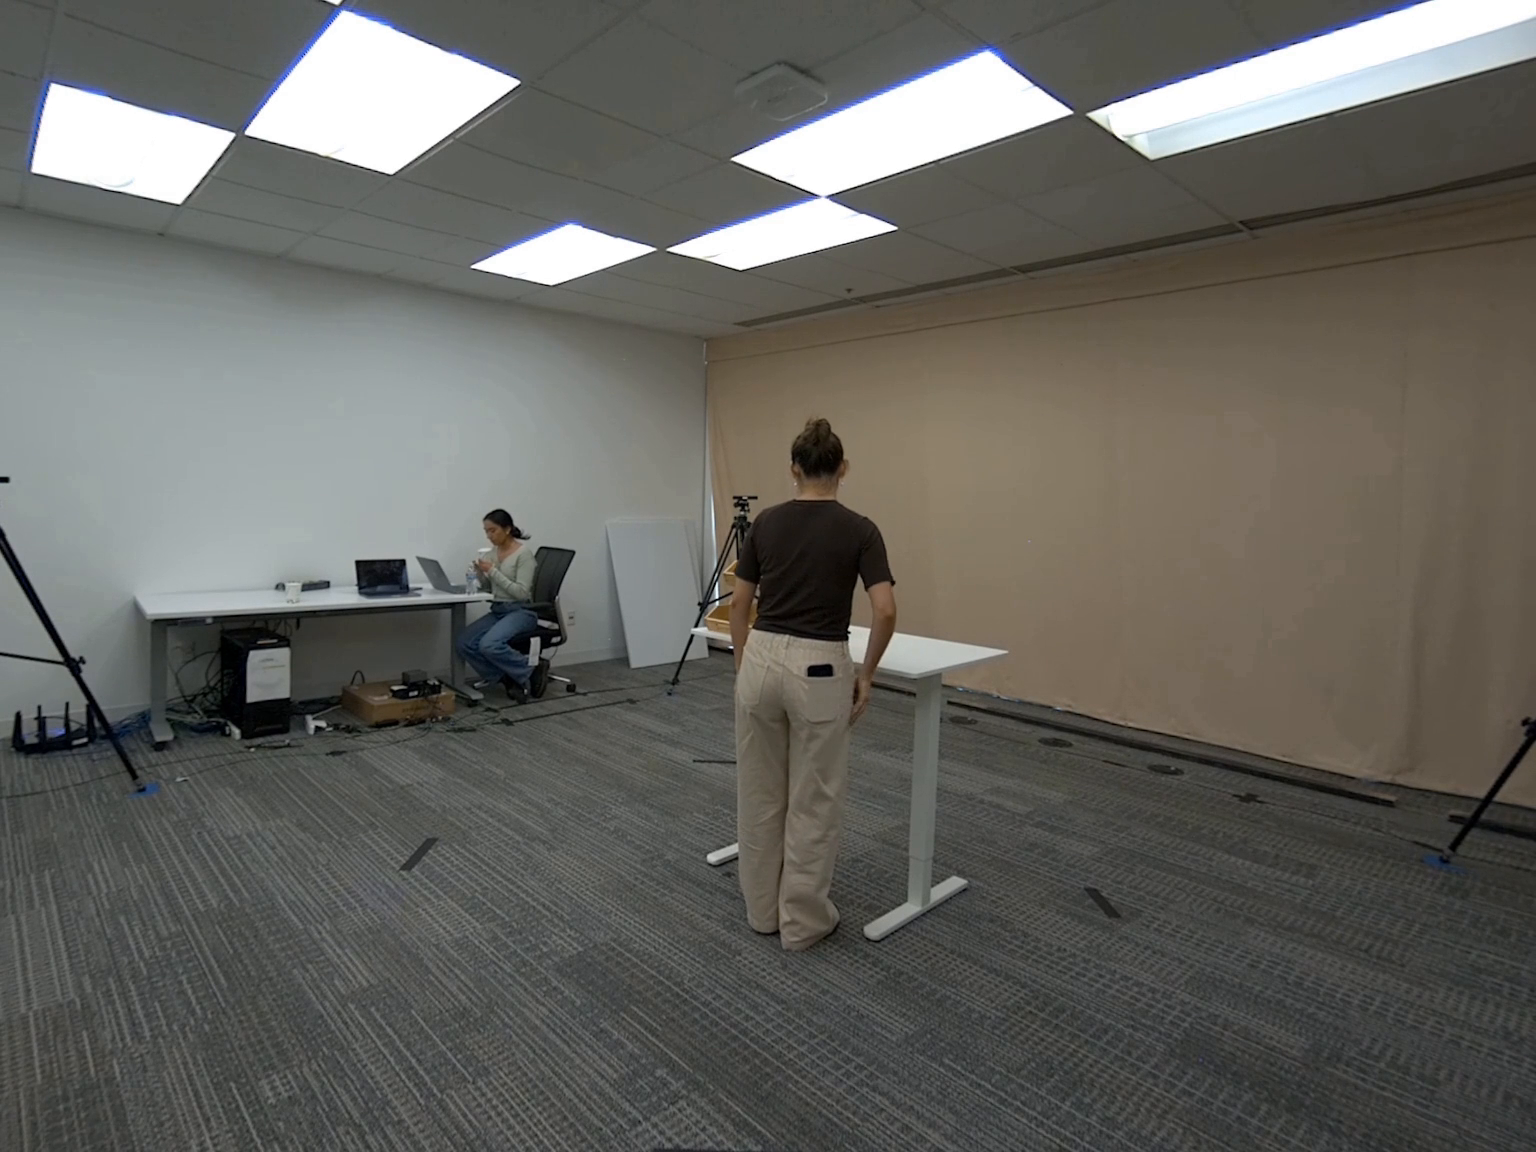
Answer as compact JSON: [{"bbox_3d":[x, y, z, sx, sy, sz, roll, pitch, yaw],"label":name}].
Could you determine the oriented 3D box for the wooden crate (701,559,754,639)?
[{"bbox_3d":[-0.026,0.085,3.180,0.295,0.273,0.333,-1,5,-44],"label":"wooden crate"}]
